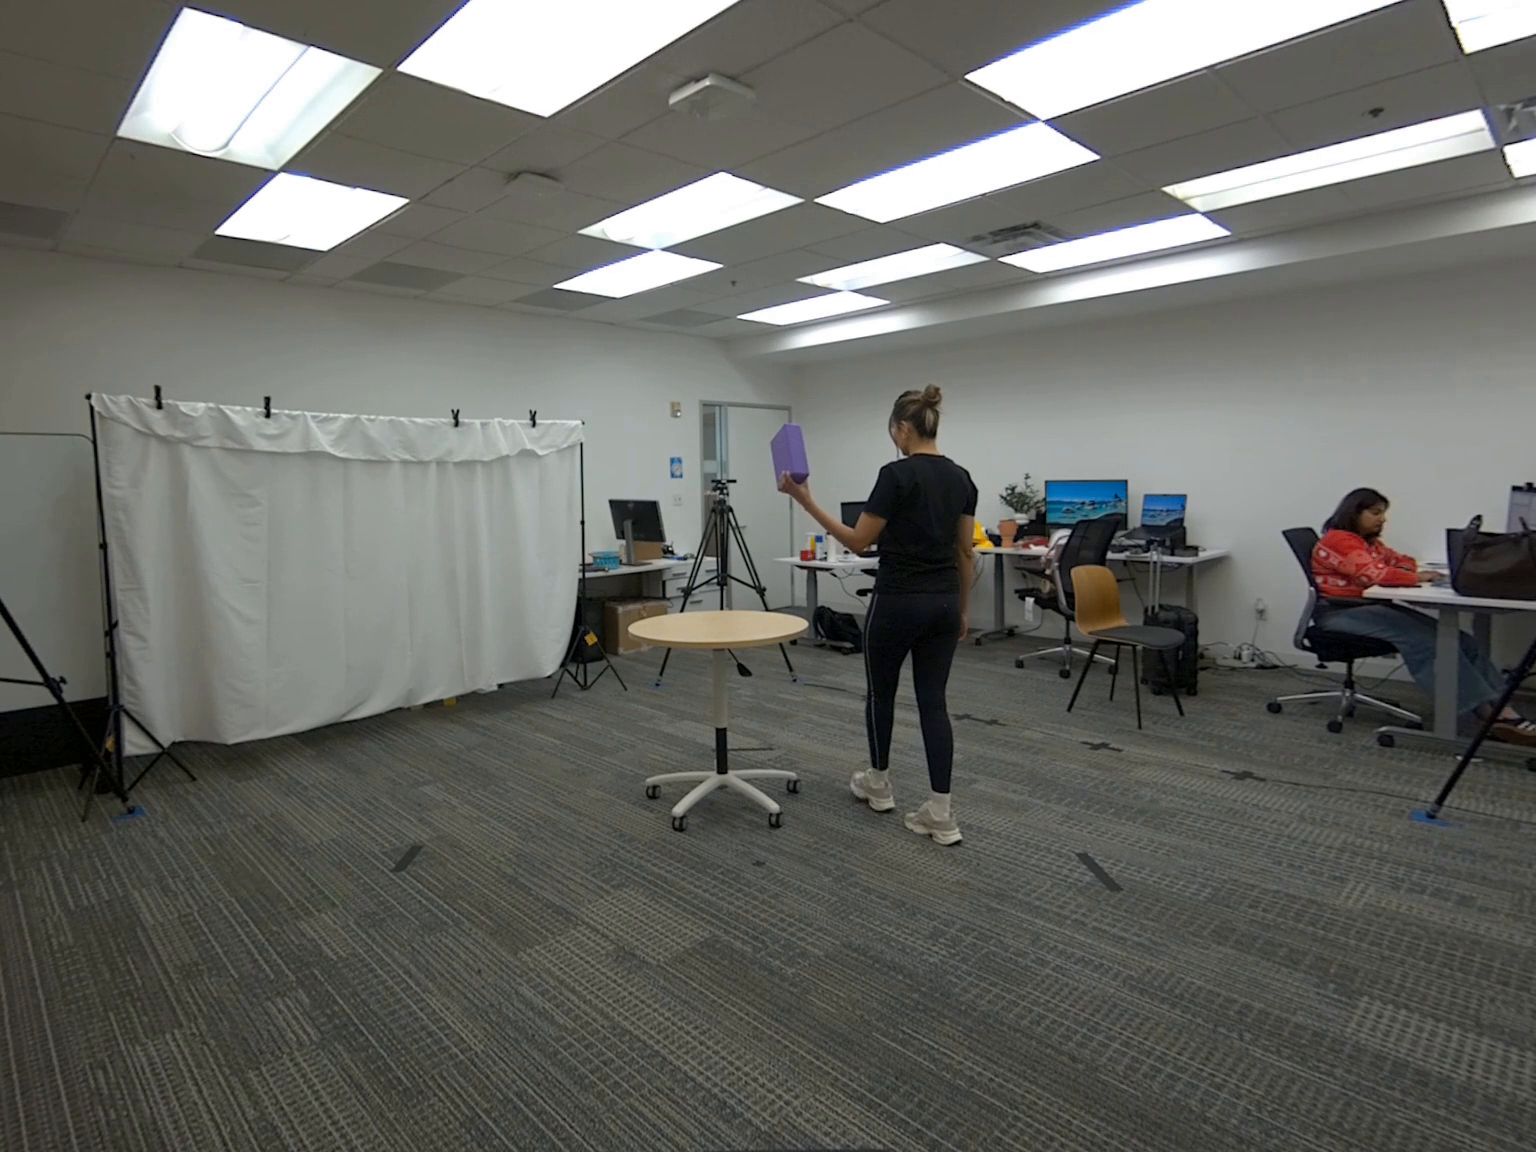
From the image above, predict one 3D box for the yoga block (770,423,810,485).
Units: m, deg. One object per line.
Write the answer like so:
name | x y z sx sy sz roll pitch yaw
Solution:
yoga block | 0.083 -0.455 3.301 0.075 0.234 0.148 2 -25 -22
